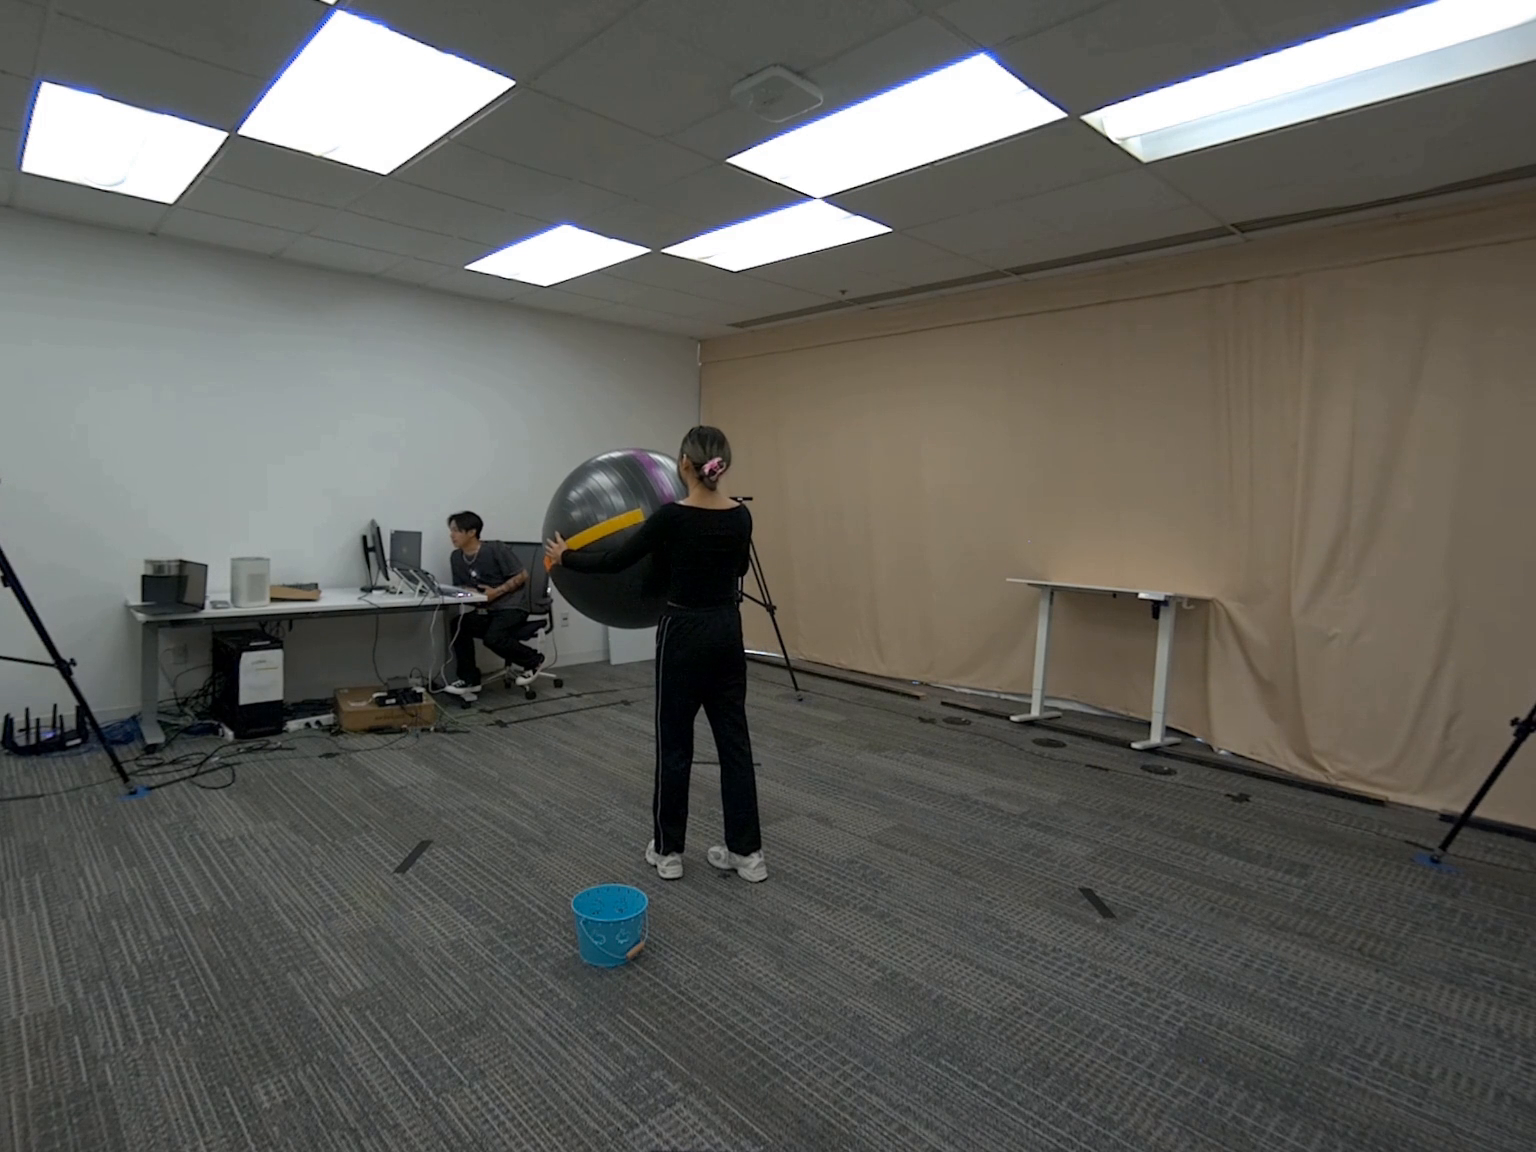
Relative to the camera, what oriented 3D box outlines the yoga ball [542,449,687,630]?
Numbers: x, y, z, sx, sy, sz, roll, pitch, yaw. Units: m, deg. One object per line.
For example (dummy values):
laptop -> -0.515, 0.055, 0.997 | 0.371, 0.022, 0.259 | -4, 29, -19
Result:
yoga ball -> -0.576, -0.152, 3.539 | 0.757, 0.756, 0.761 | 1, 4, -1
